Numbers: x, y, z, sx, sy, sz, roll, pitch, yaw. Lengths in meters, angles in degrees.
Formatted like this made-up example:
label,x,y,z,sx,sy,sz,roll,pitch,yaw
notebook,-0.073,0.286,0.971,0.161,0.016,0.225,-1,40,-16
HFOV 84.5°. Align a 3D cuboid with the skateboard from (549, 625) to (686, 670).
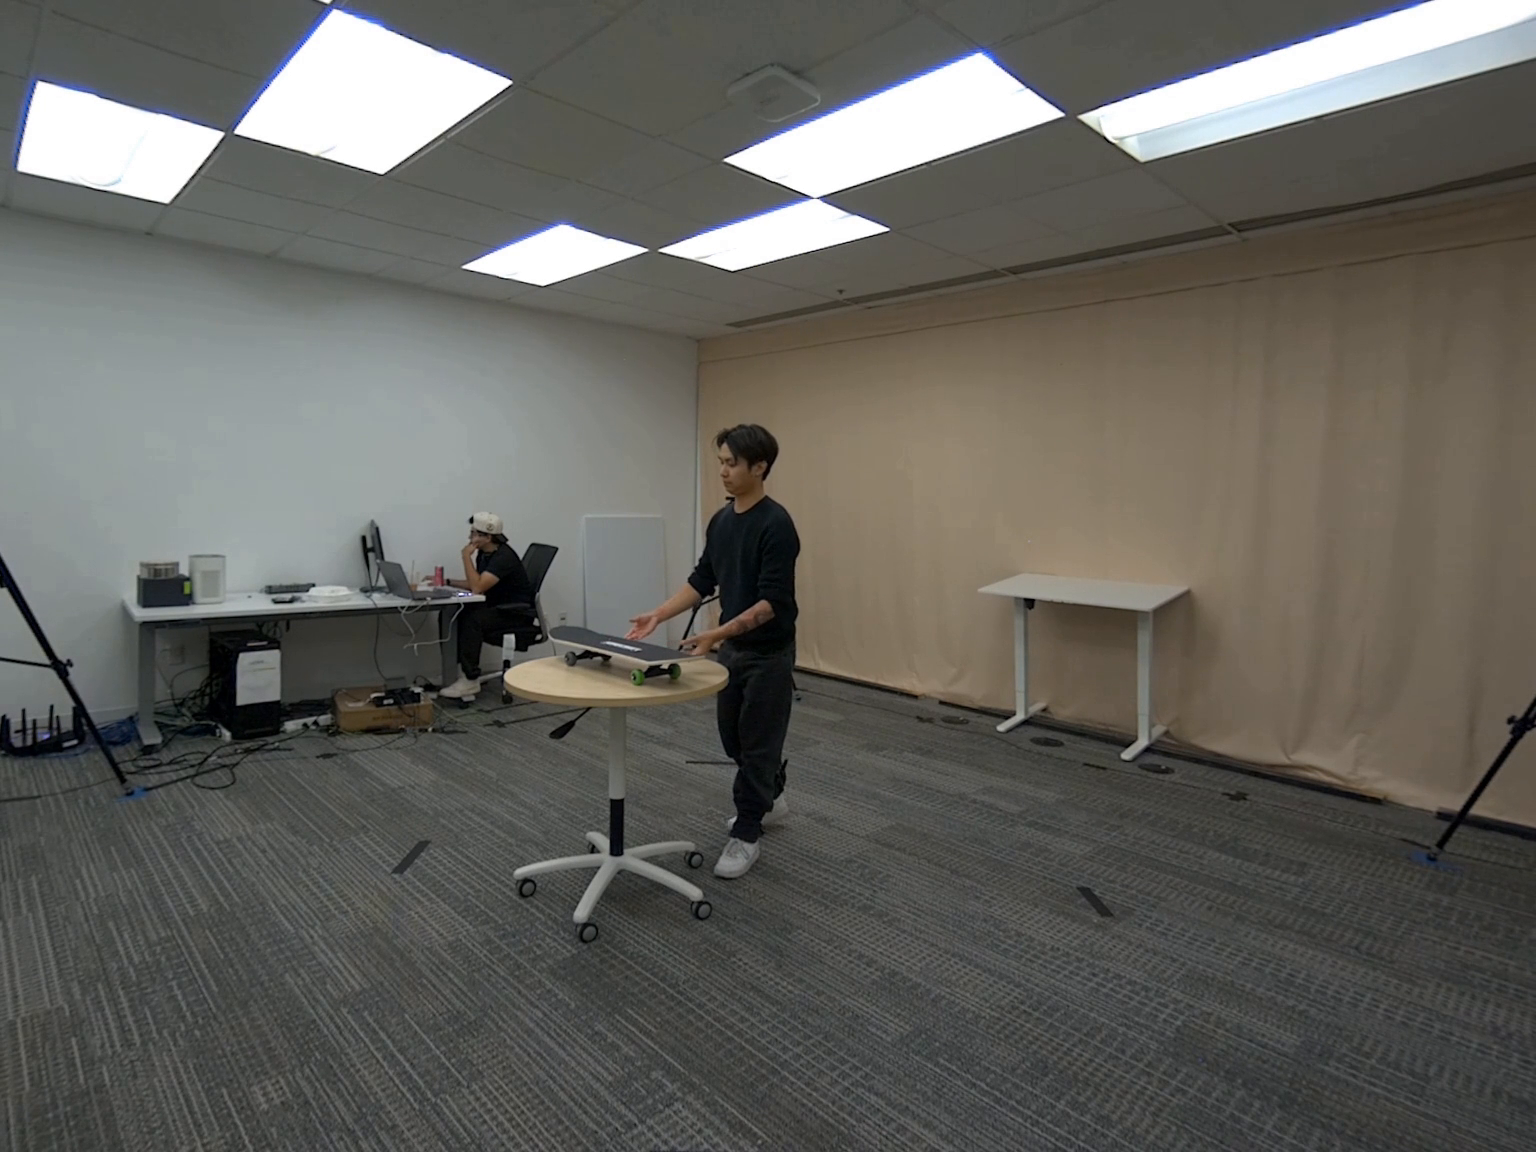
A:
label,x,y,z,sx,sy,sz,roll,pitch,yaw
skateboard,-0.520,0.282,2.924,0.189,0.110,0.806,-3,7,-44
